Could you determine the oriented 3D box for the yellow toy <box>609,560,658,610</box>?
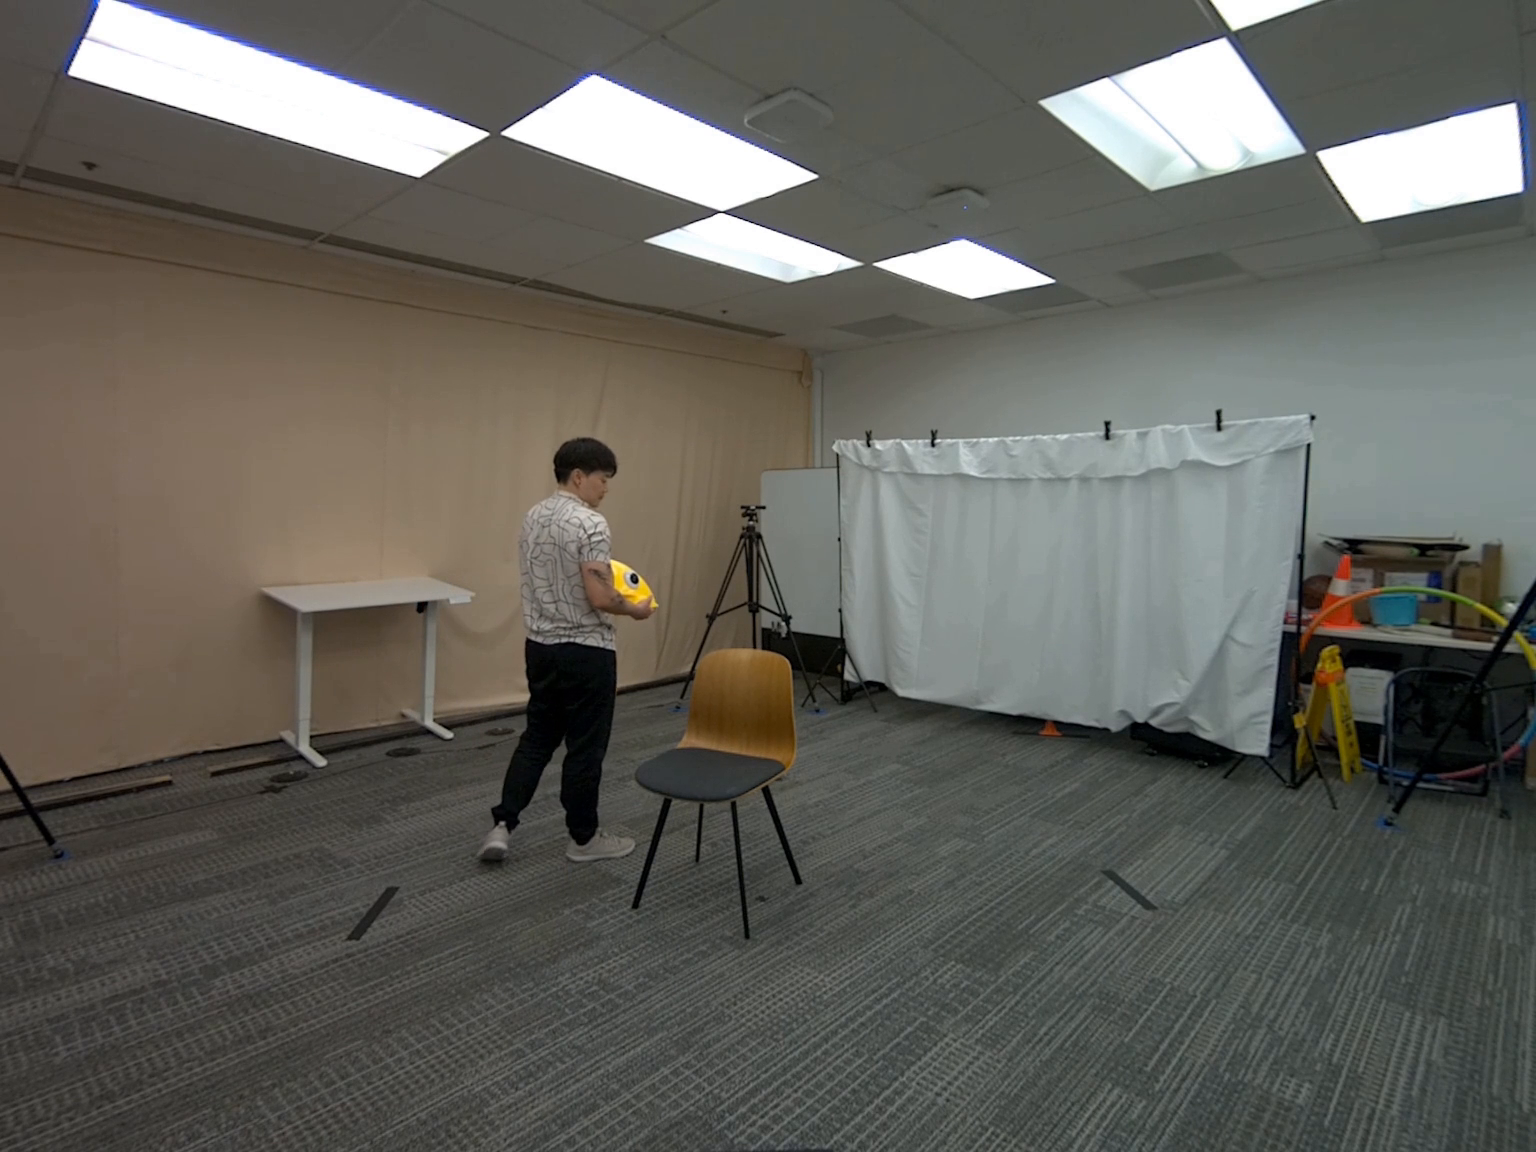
[{"bbox_3d":[-0.581,0.038,3.447,0.189,0.231,0.208,-10,-4,-21],"label":"yellow toy"}]
